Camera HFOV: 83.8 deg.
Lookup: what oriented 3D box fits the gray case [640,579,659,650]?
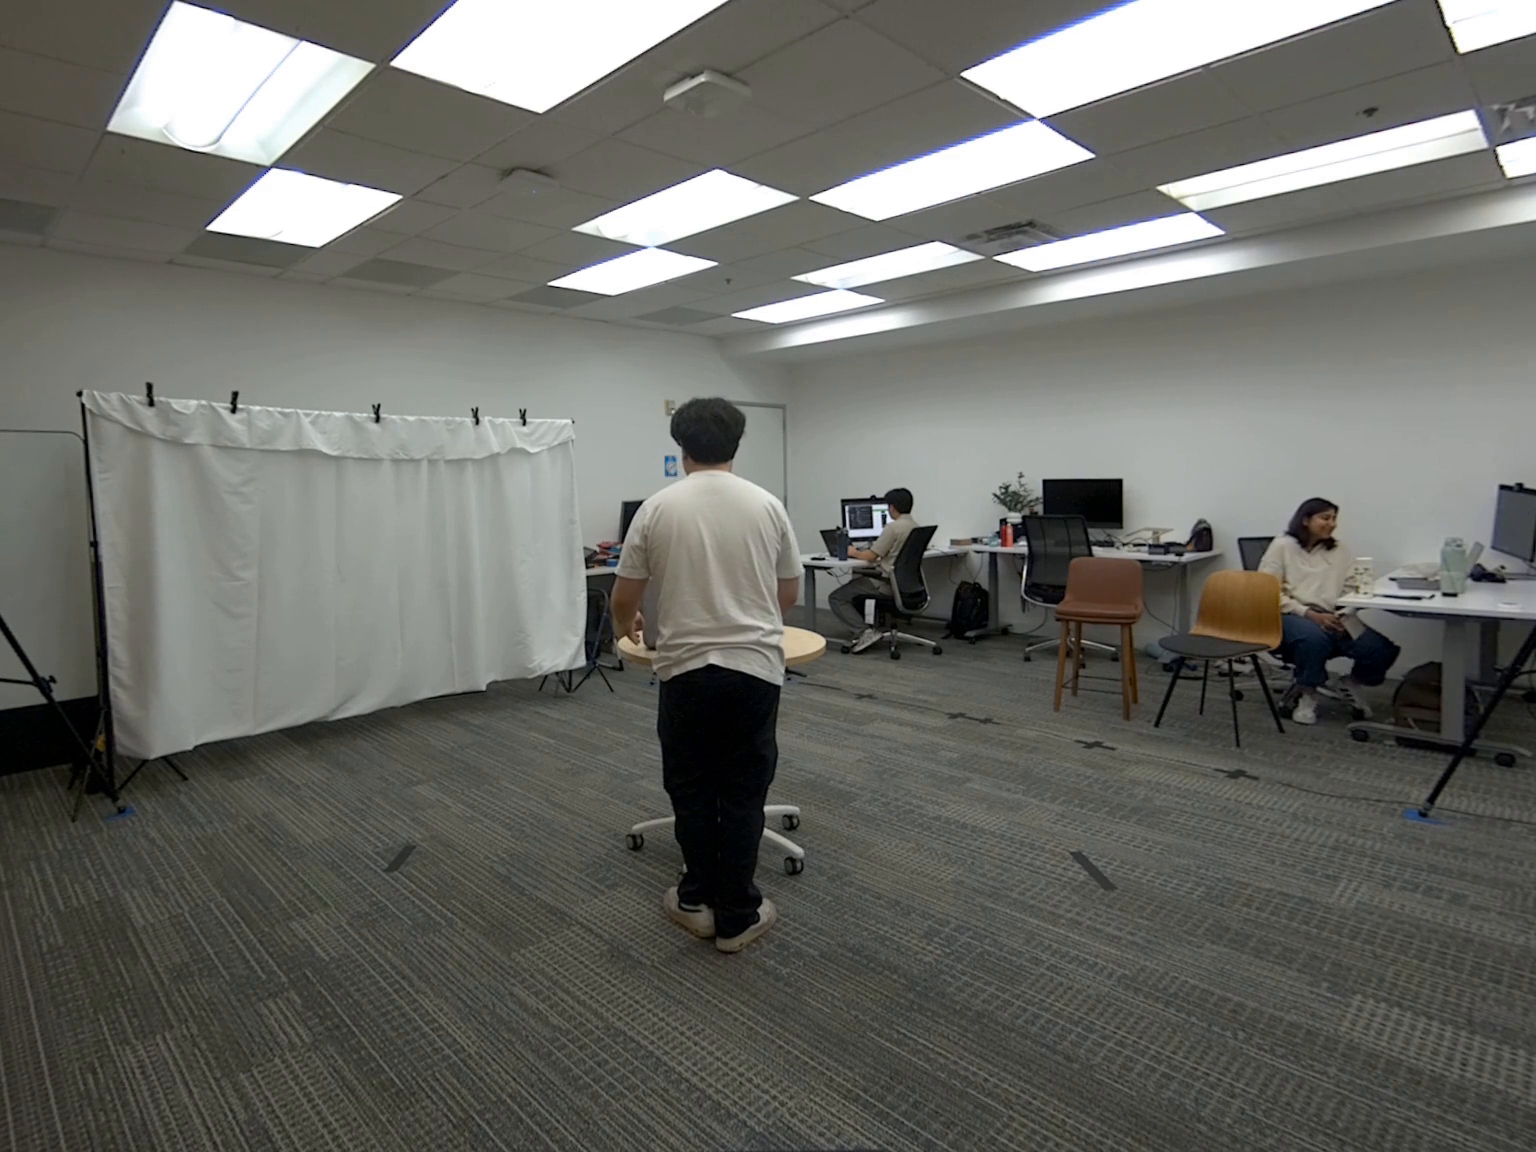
[{"bbox_3d":[-0.320,0.115,3.062,0.255,0.263,0.104,-2,-9,-7],"label":"gray case"}]
